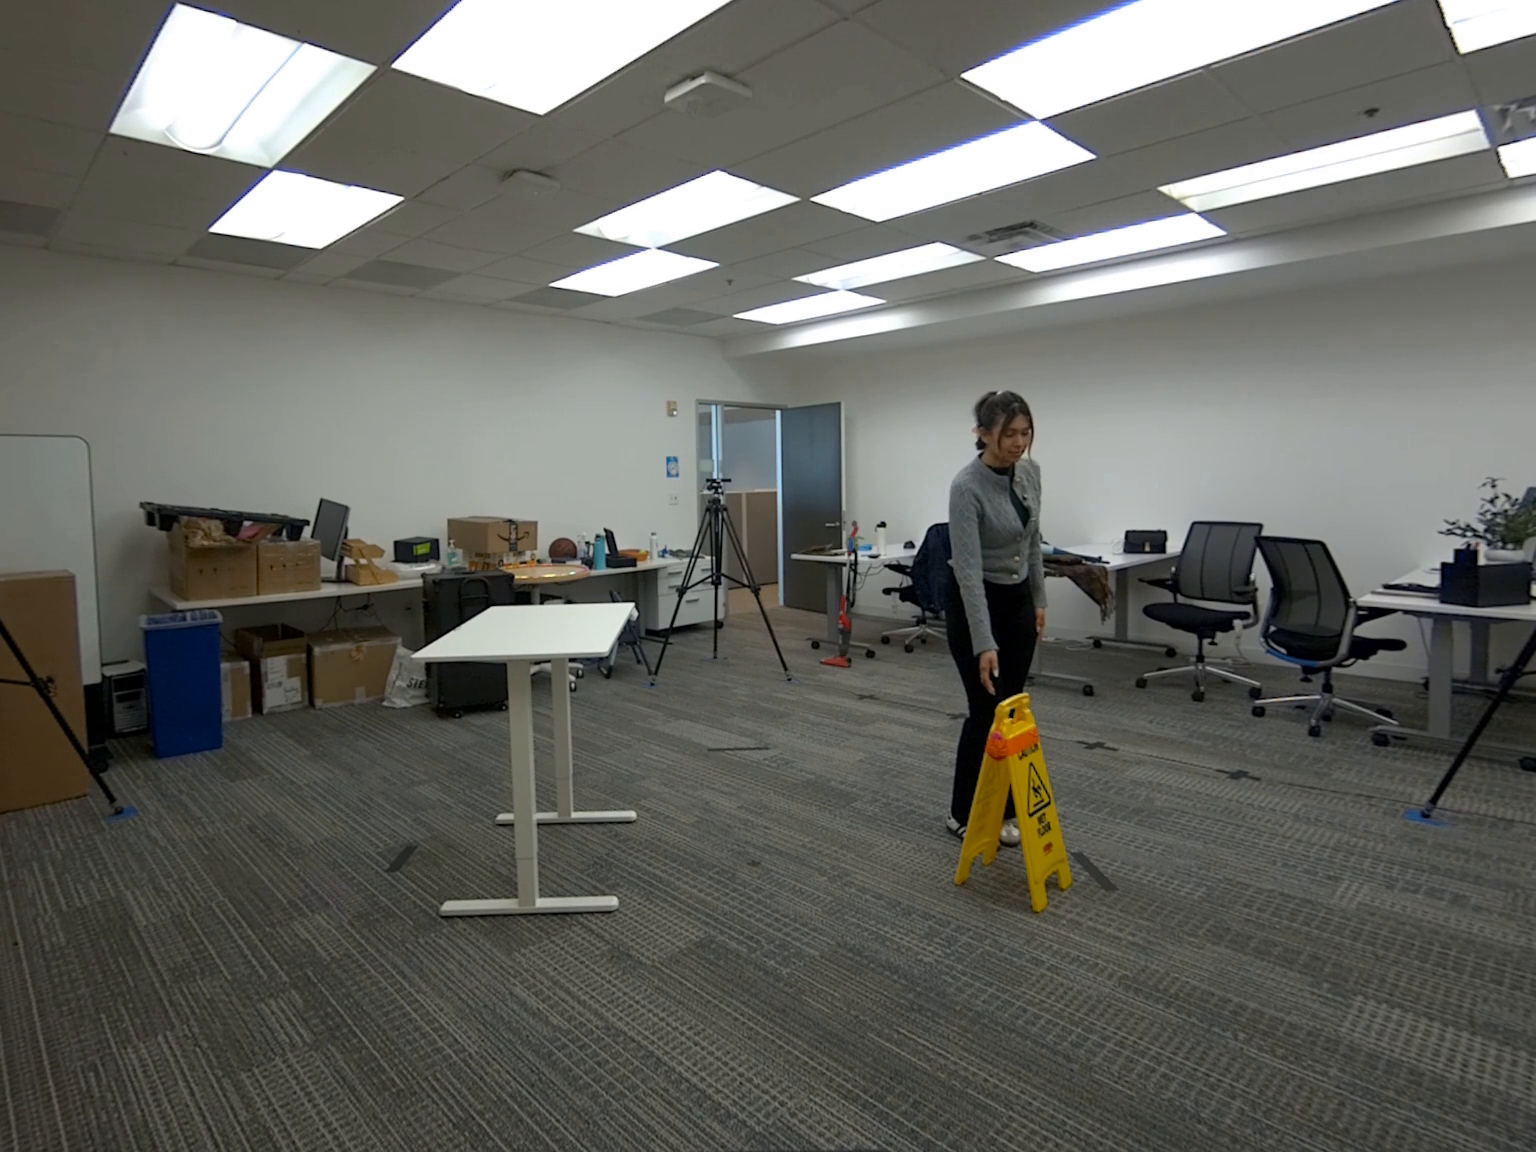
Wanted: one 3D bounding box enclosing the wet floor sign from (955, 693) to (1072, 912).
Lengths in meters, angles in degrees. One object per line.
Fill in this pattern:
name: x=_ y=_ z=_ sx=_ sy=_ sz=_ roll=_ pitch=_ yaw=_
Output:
wet floor sign: x=0.836 y=0.733 z=2.893 sx=0.299 sy=0.643 sz=0.275 roll=4 pitch=7 yaw=42
